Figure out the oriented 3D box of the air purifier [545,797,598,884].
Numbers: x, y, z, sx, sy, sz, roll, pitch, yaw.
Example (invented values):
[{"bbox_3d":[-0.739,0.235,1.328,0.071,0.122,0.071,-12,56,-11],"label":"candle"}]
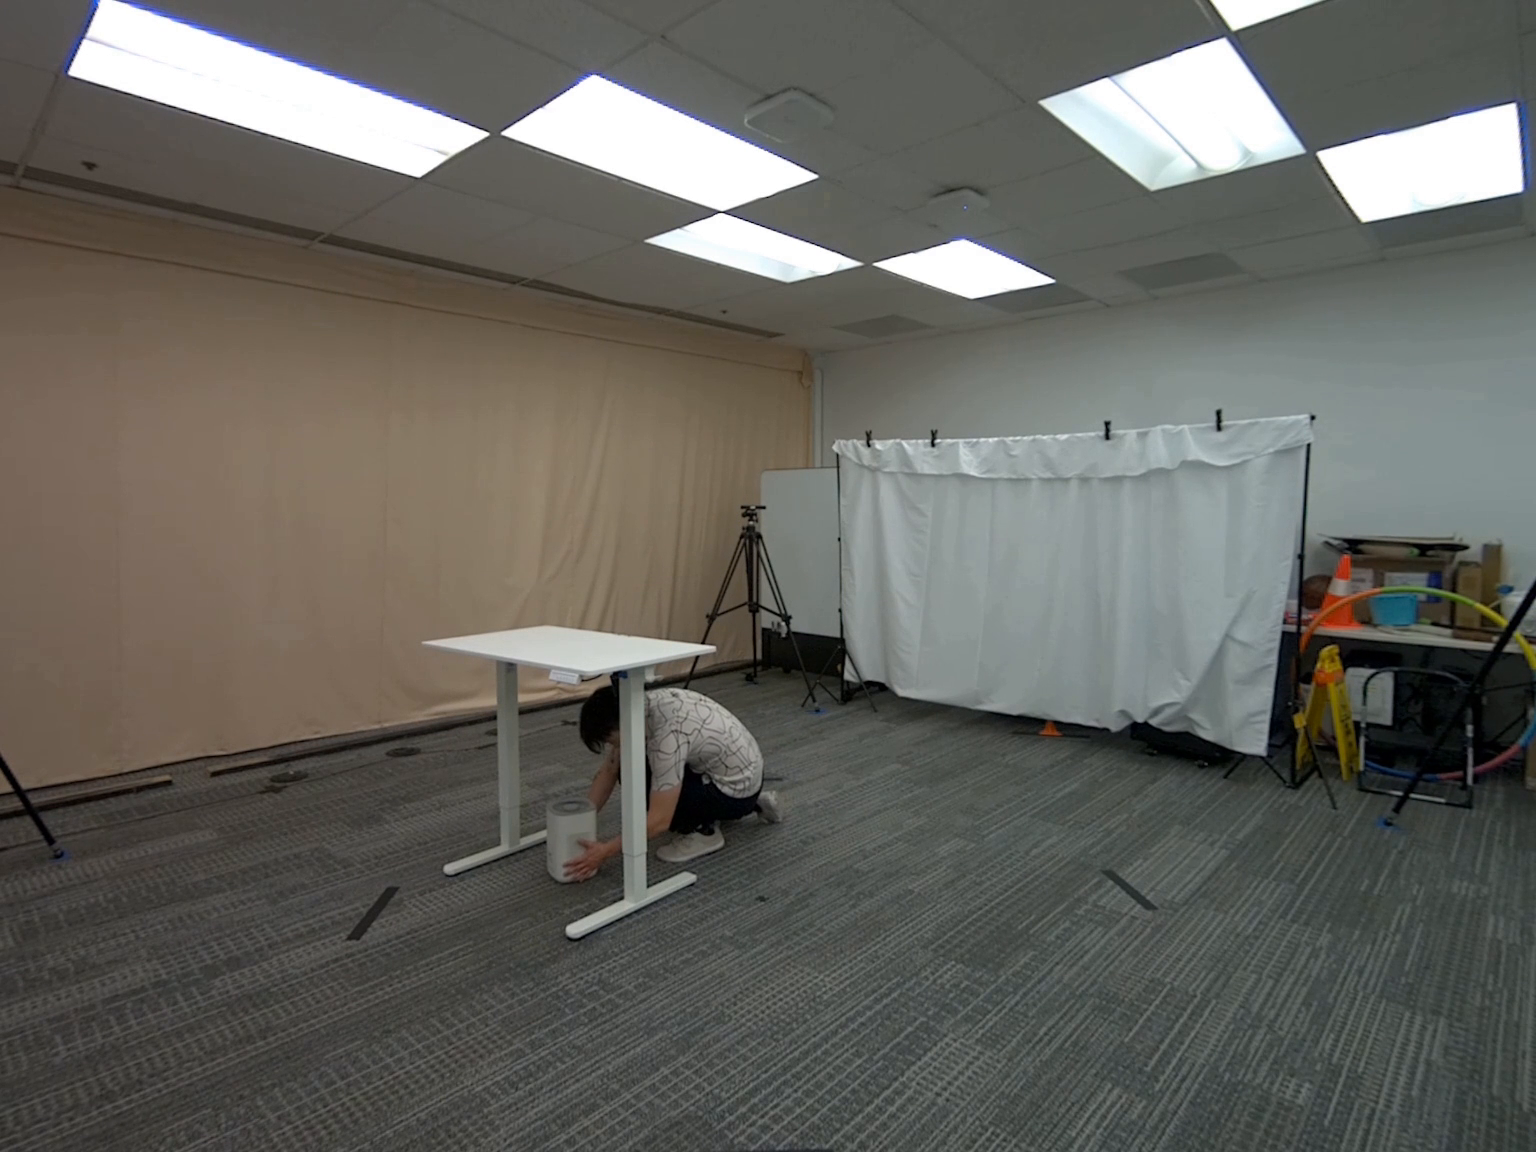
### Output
[{"bbox_3d":[-0.748,1.005,3.190,0.167,0.265,0.176,-2,3,-35],"label":"air purifier"}]
